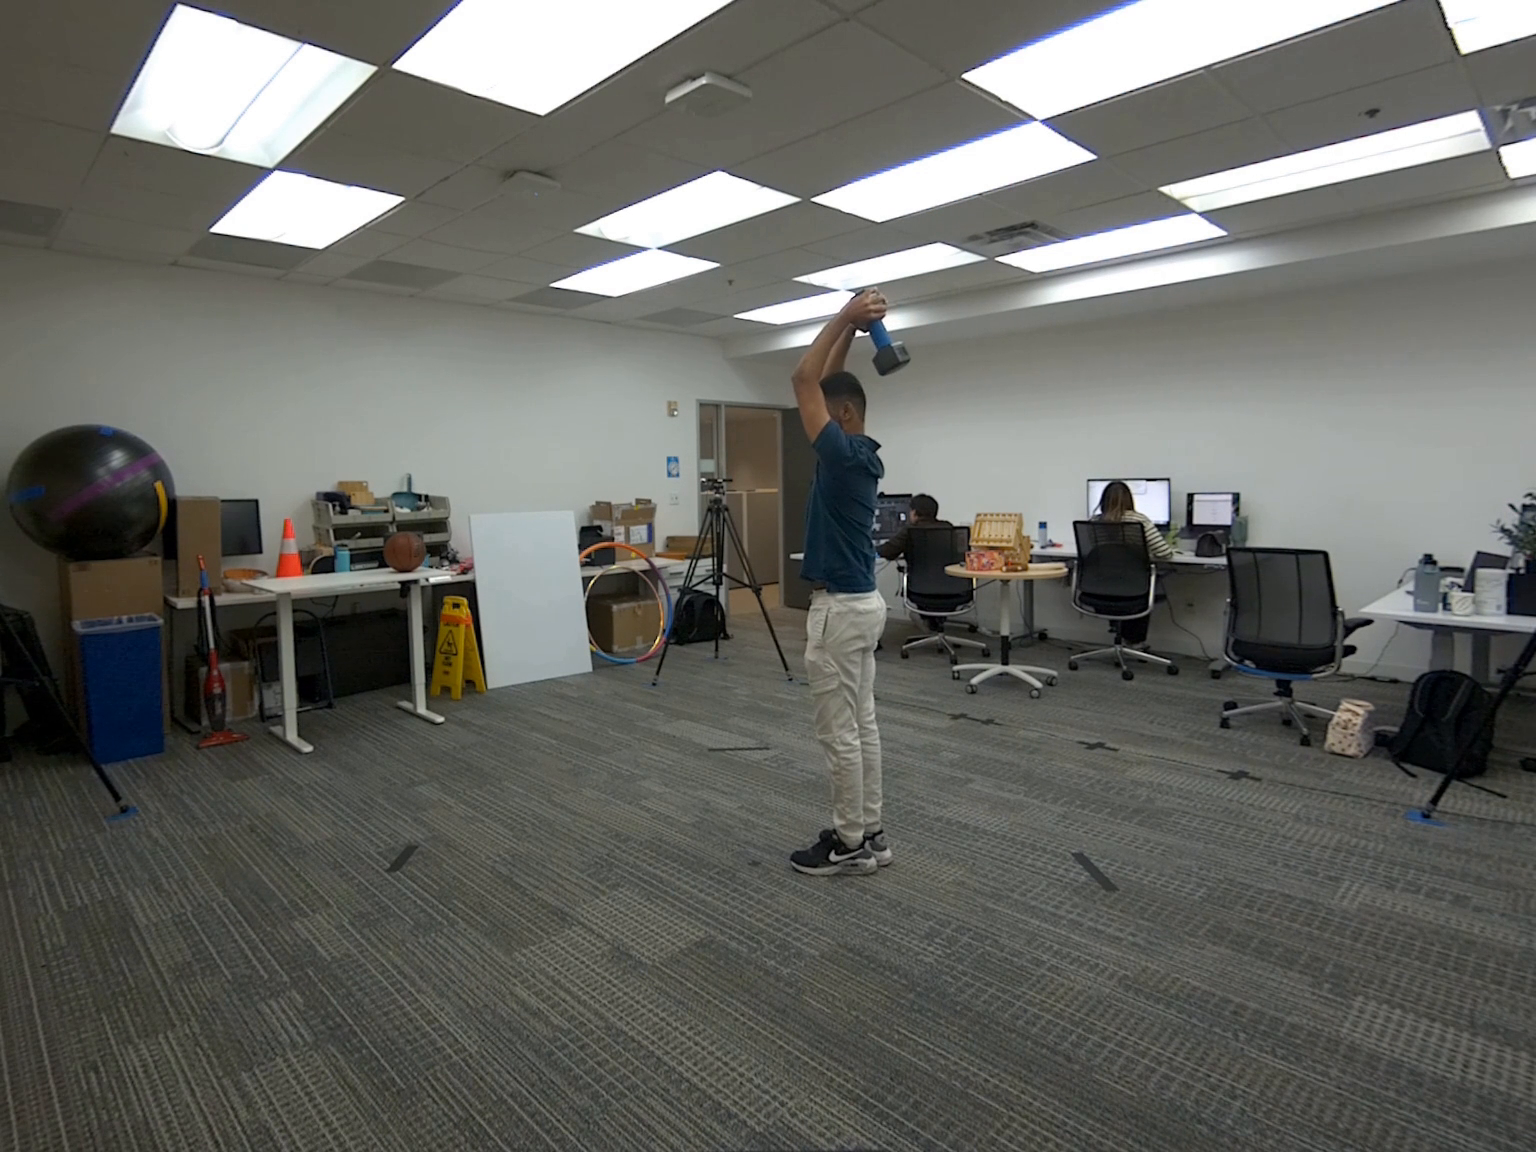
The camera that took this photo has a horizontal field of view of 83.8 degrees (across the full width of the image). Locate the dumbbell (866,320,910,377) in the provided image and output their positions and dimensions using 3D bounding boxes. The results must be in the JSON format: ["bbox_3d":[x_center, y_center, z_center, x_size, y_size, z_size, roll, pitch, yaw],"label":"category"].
[{"bbox_3d":[0.392,-0.842,2.970,0.124,0.295,0.106,-21,-5,25],"label":"dumbbell"}]
